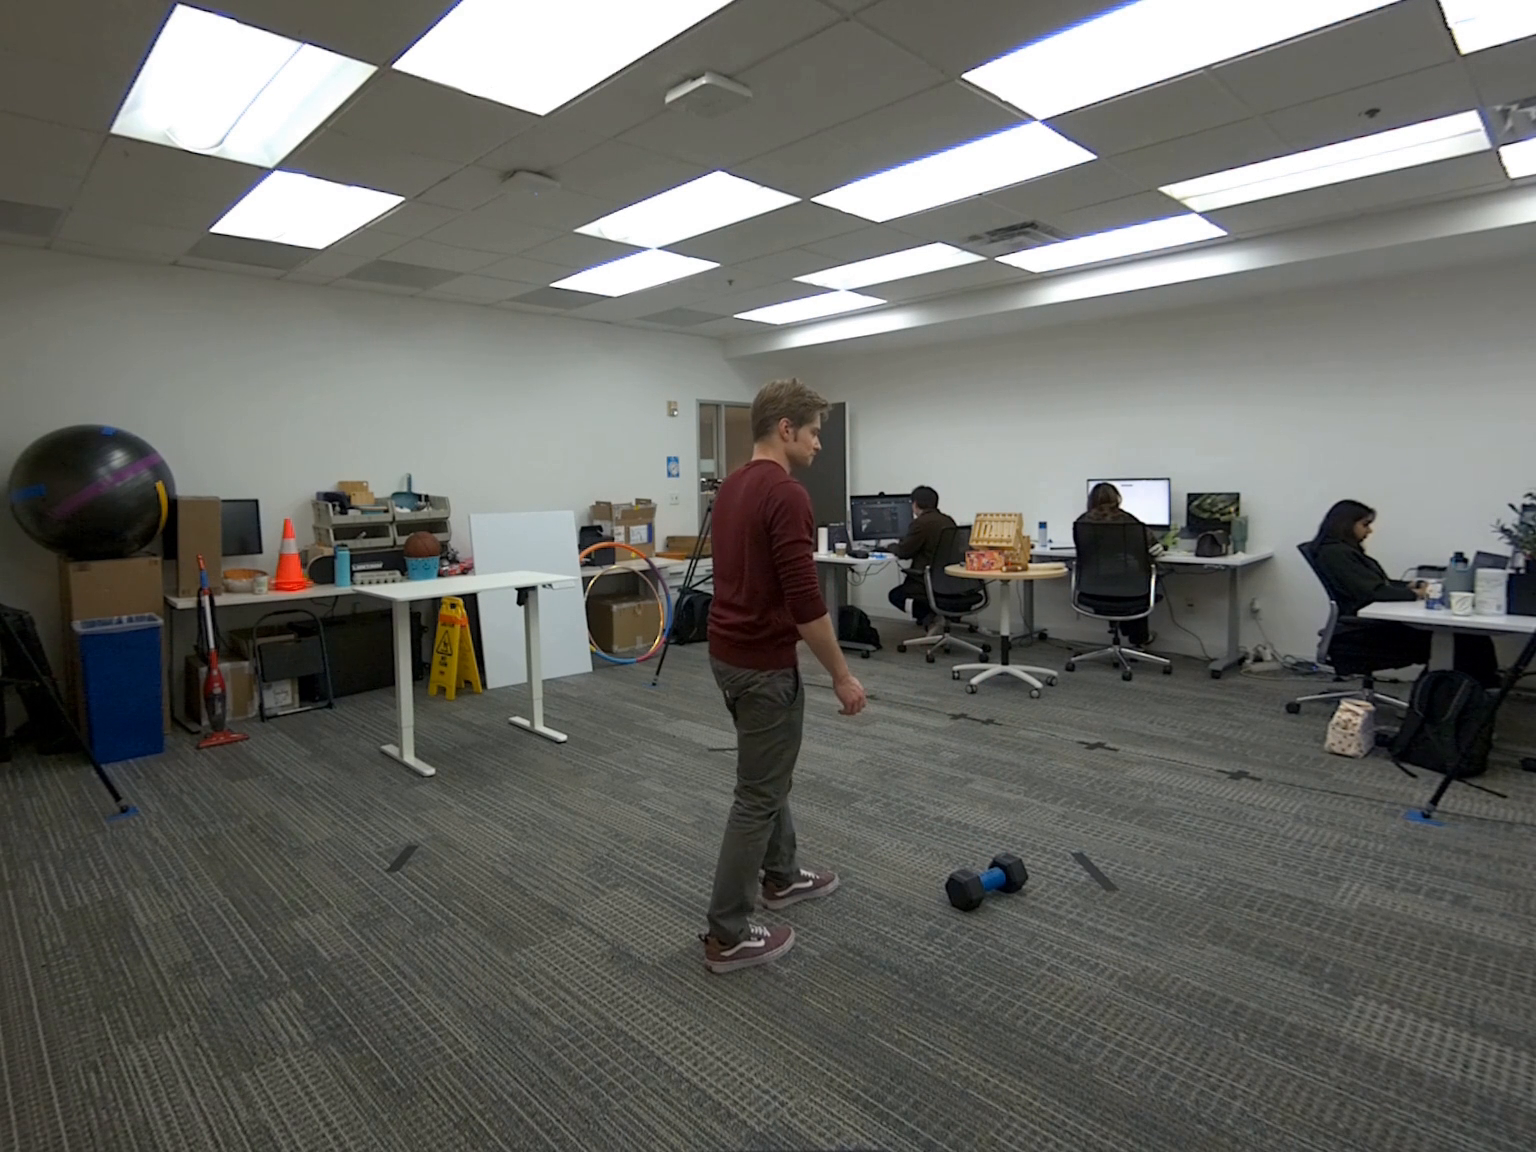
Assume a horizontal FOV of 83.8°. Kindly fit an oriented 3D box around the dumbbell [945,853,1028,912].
[{"bbox_3d":[0.735,1.013,2.822,0.286,0.126,0.109,-5,-23,-34],"label":"dumbbell"}]
